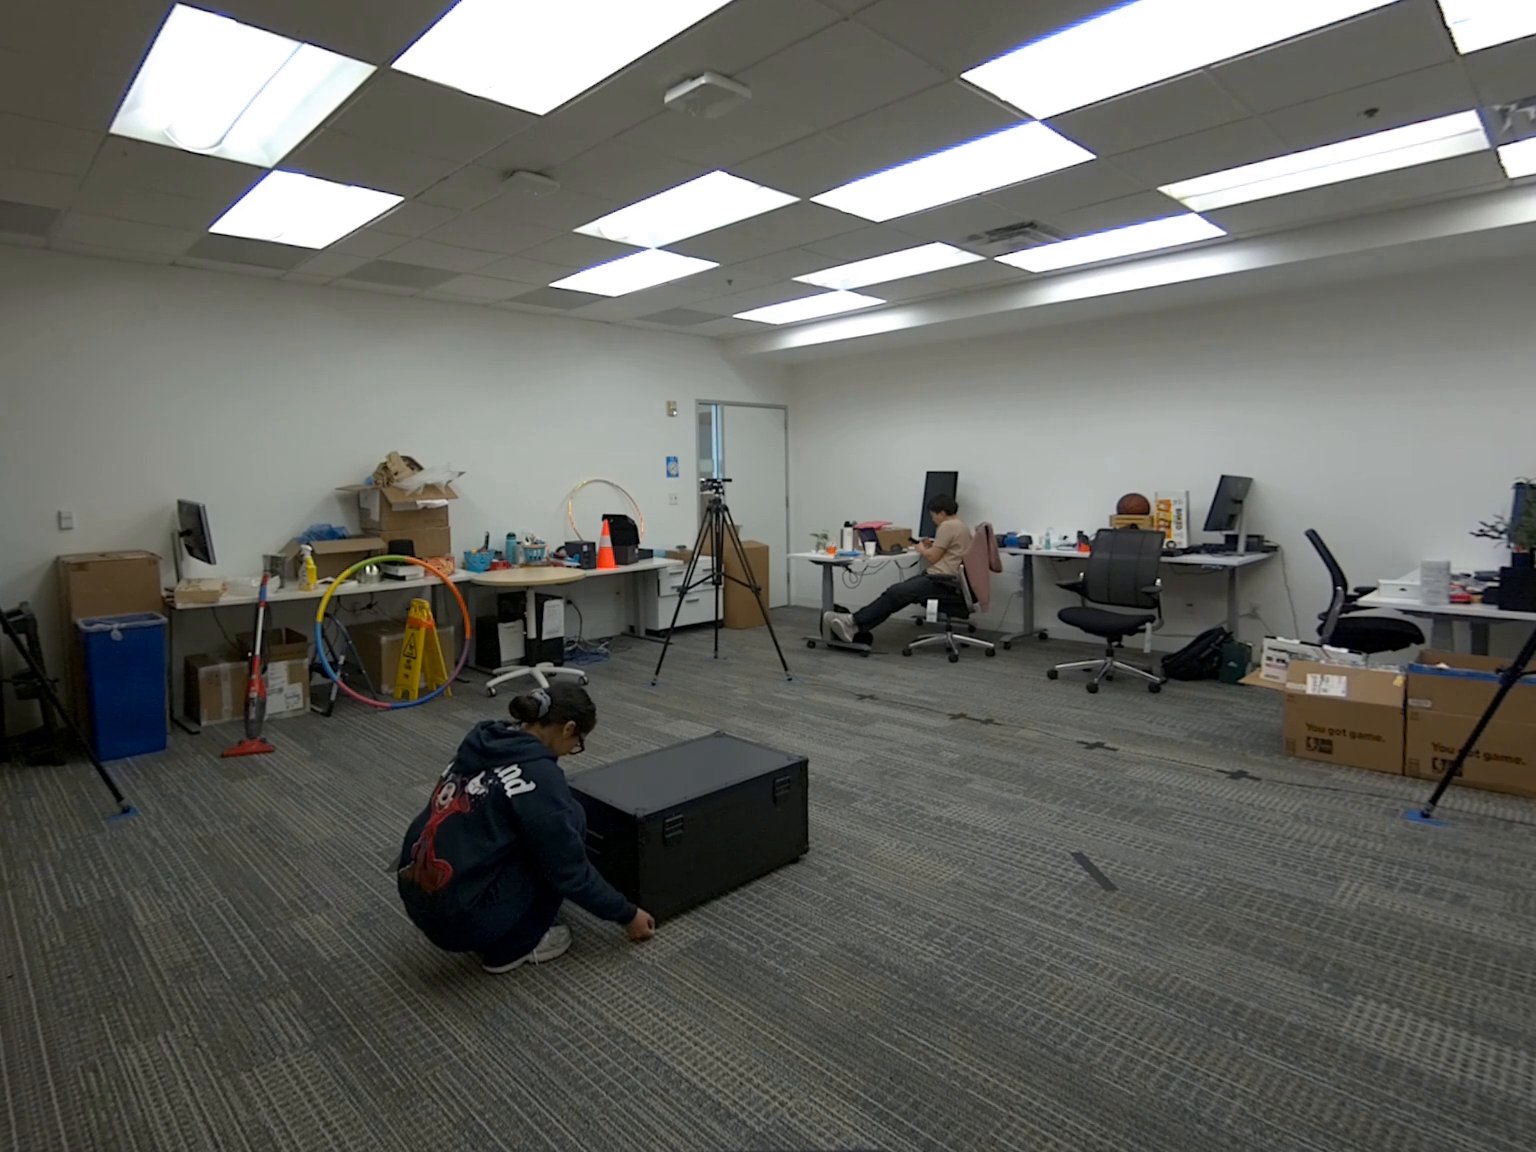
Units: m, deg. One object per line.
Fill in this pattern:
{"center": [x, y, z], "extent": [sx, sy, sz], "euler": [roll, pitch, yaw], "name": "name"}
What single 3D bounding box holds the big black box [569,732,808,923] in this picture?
{"center": [-0.266, 0.862, 3.059], "extent": [0.840, 0.394, 0.537], "euler": [-8, 10, -44], "name": "big black box"}
